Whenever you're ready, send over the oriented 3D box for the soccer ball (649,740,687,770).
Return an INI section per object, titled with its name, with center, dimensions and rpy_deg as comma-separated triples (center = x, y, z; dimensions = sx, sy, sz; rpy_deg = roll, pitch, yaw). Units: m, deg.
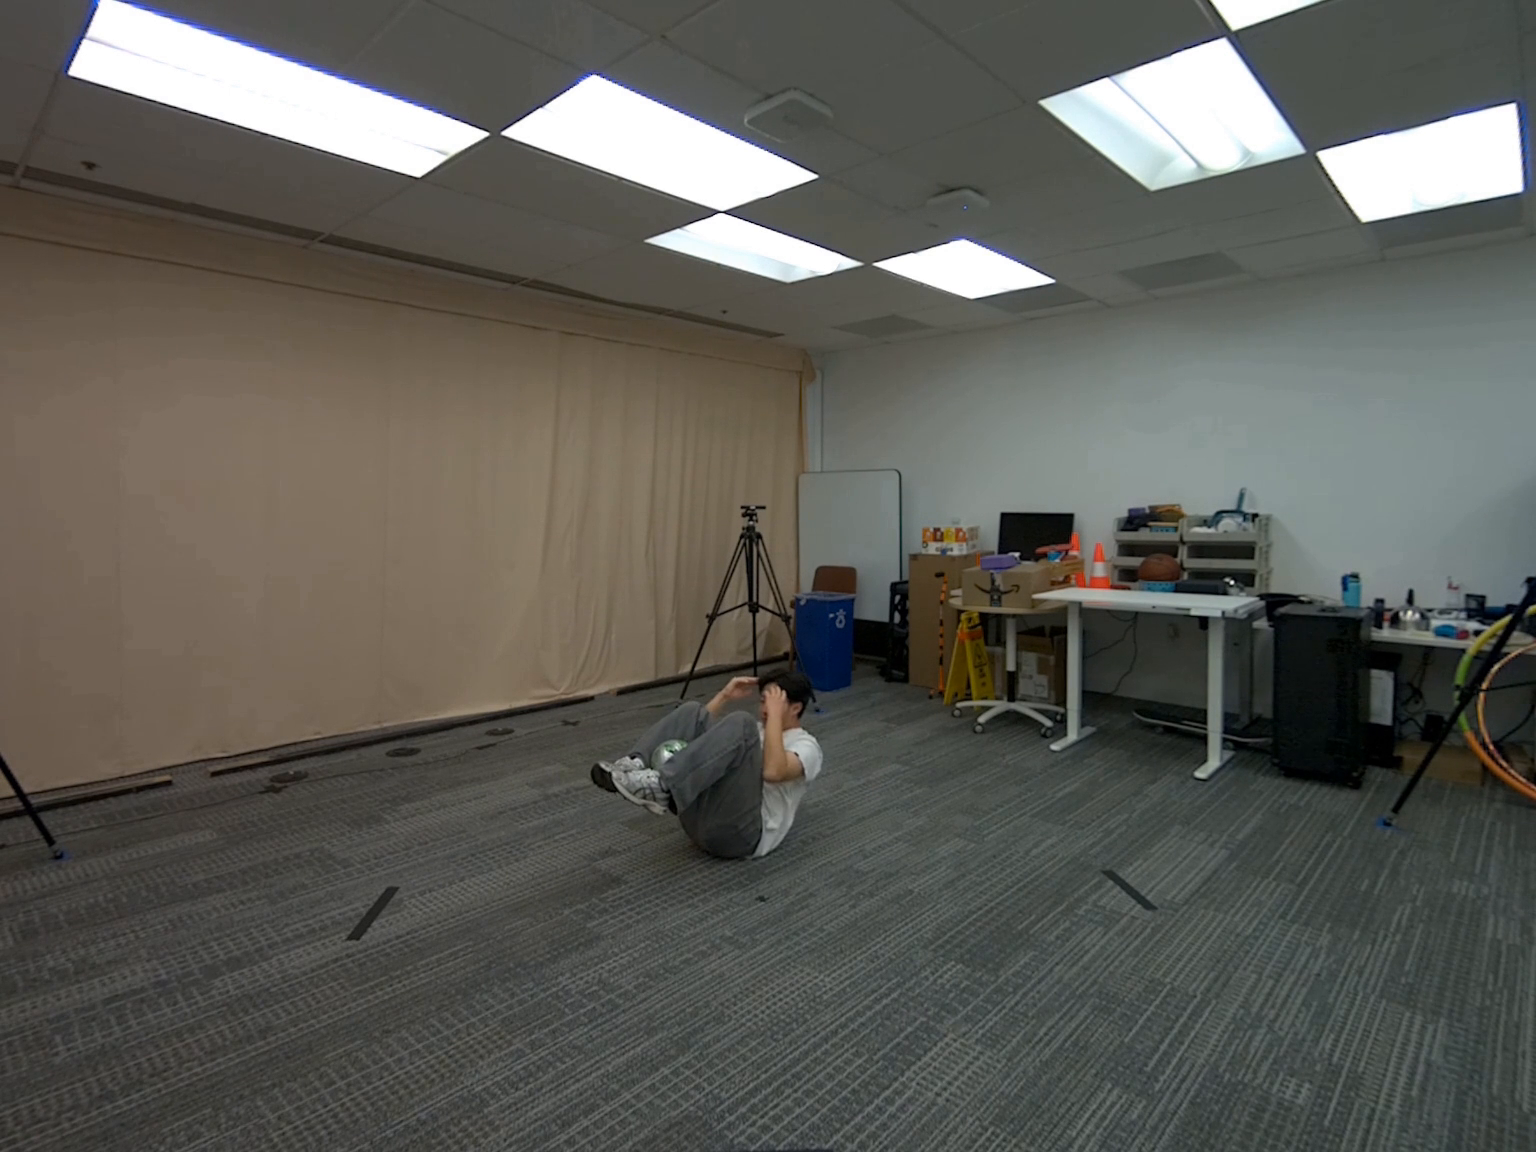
[soccer ball]
center = -0.358, 0.719, 3.239
dimensions = 0.187, 0.187, 0.188
rpy_deg = 0, 4, -2
